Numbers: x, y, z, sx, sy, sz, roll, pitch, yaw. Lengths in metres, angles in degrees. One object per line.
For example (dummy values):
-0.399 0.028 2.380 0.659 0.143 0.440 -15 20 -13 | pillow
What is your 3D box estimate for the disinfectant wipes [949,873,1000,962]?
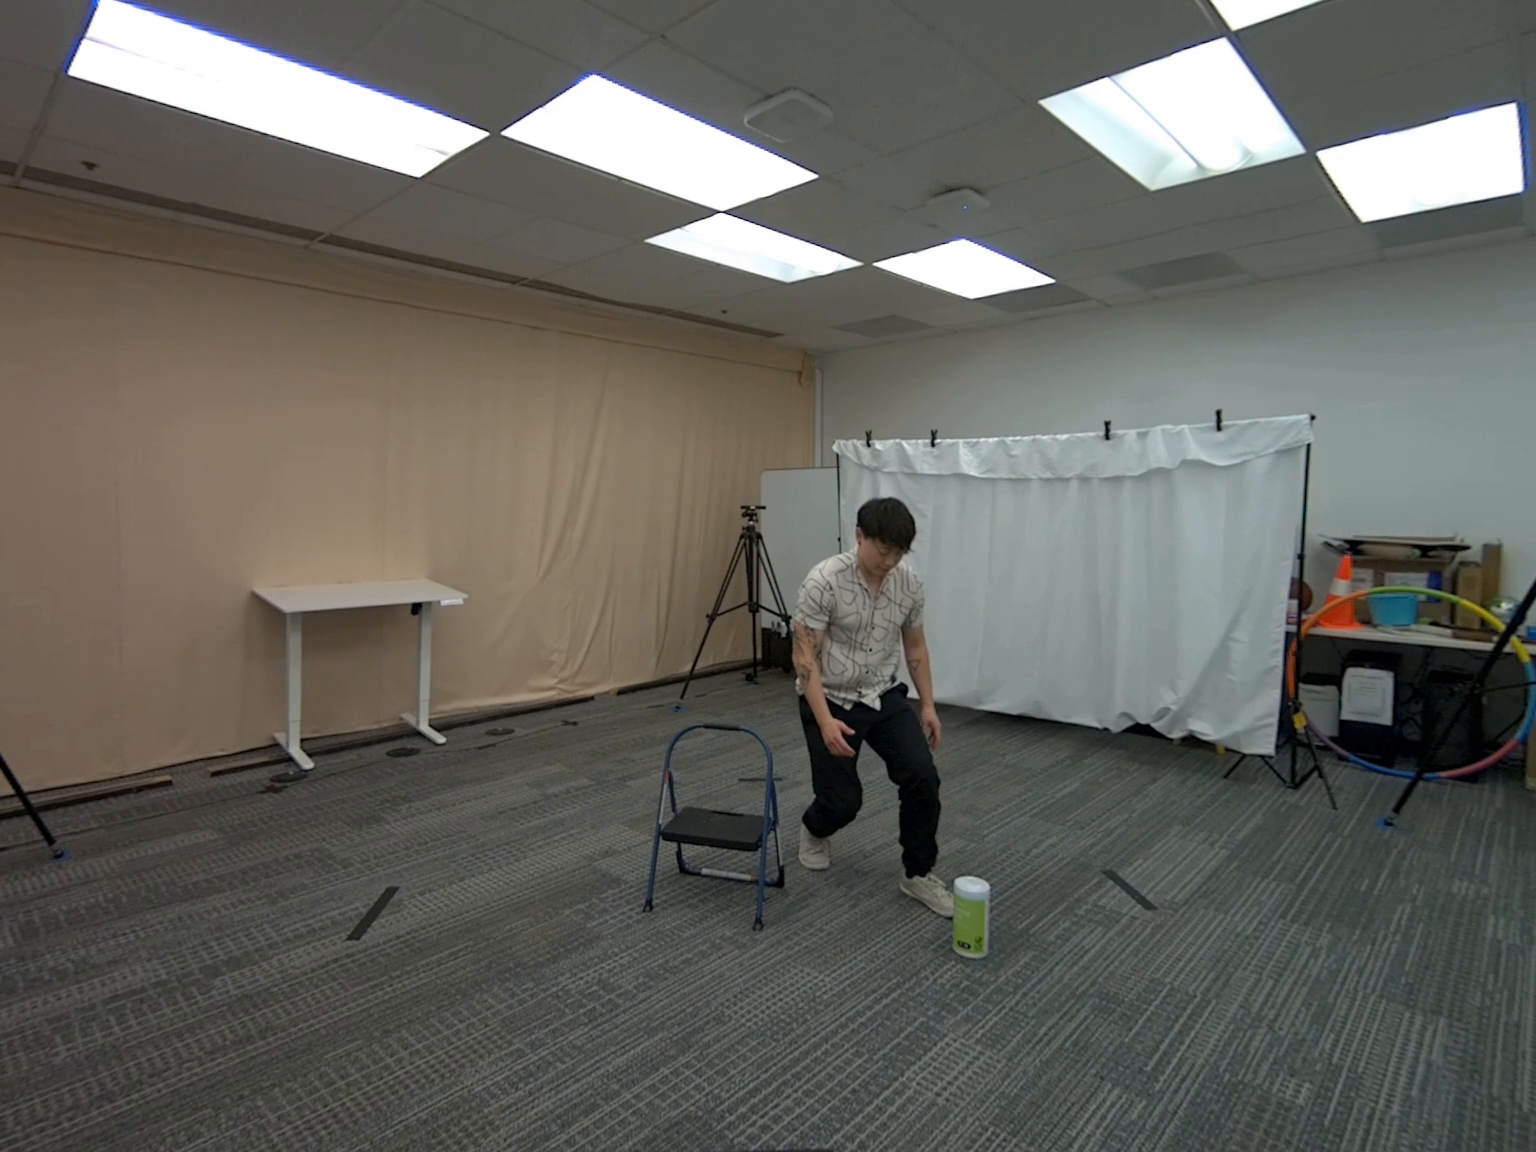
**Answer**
0.638 1.055 2.627 0.118 0.217 0.118 0 3 -2 | disinfectant wipes
